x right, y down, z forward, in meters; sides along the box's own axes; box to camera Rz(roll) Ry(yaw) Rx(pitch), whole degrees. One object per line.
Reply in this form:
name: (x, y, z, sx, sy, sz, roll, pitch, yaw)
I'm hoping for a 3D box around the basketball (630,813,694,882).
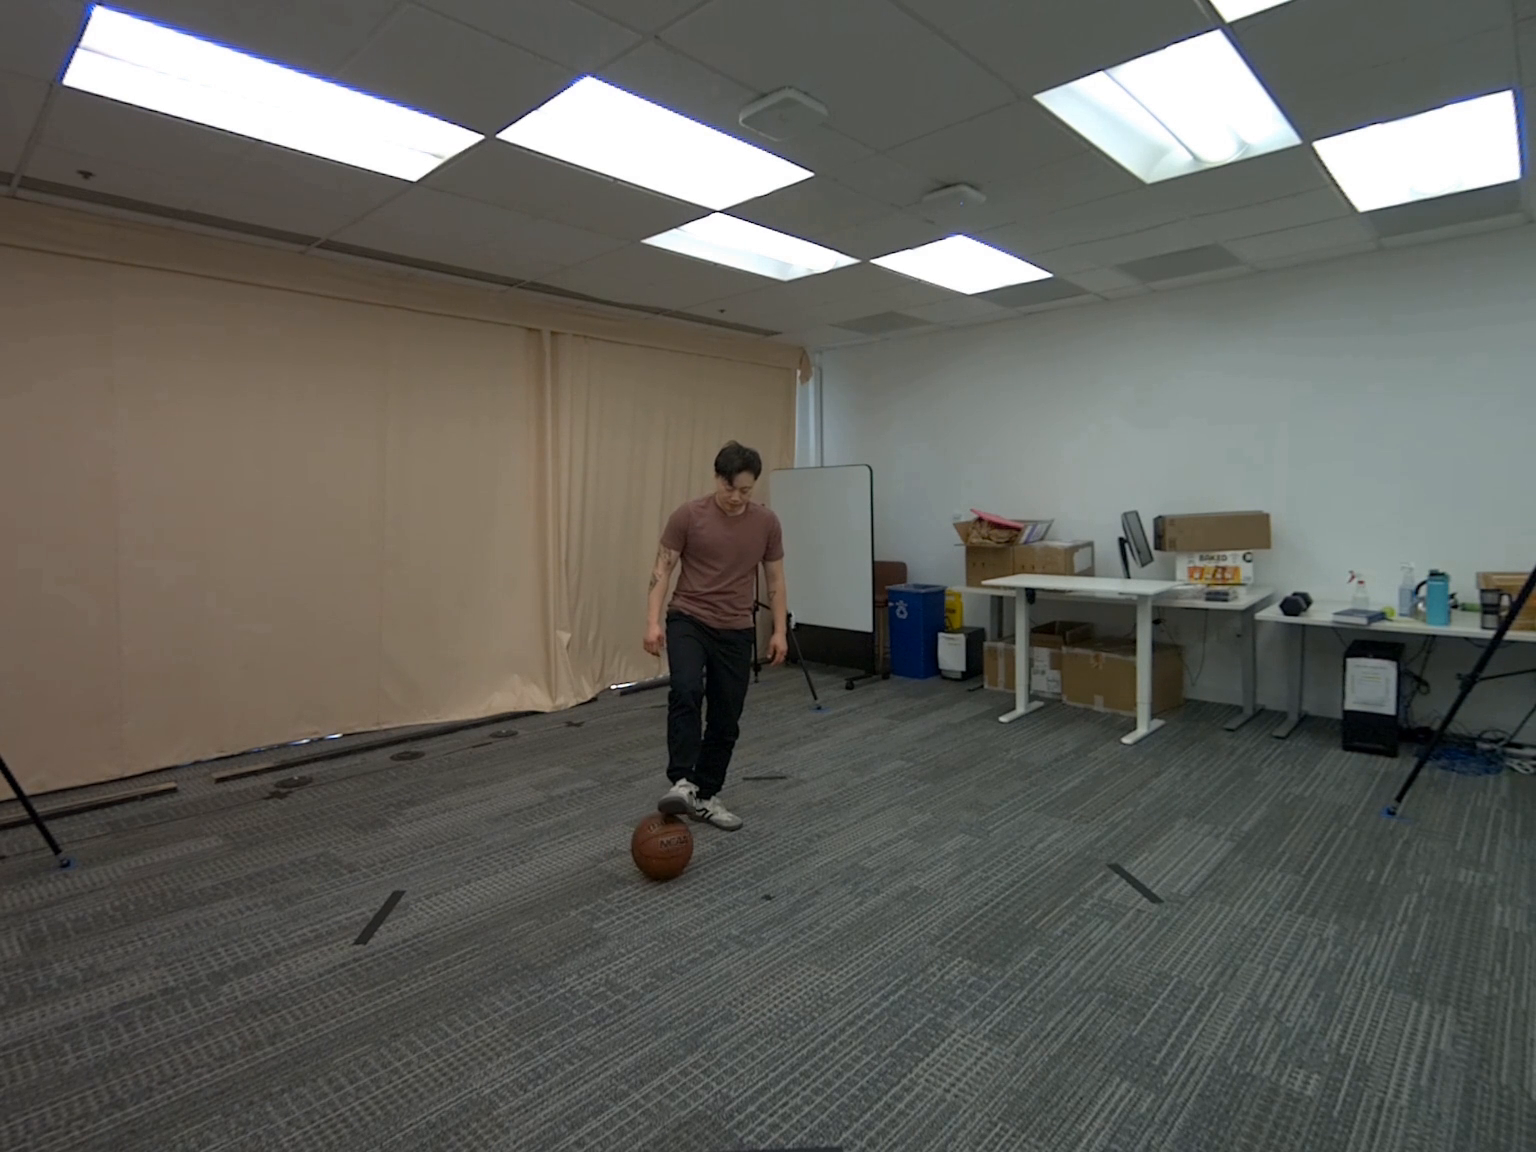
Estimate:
basketball: (-0.402, 1.018, 3.175, 0.236, 0.235, 0.237, -1, 4, -2)
